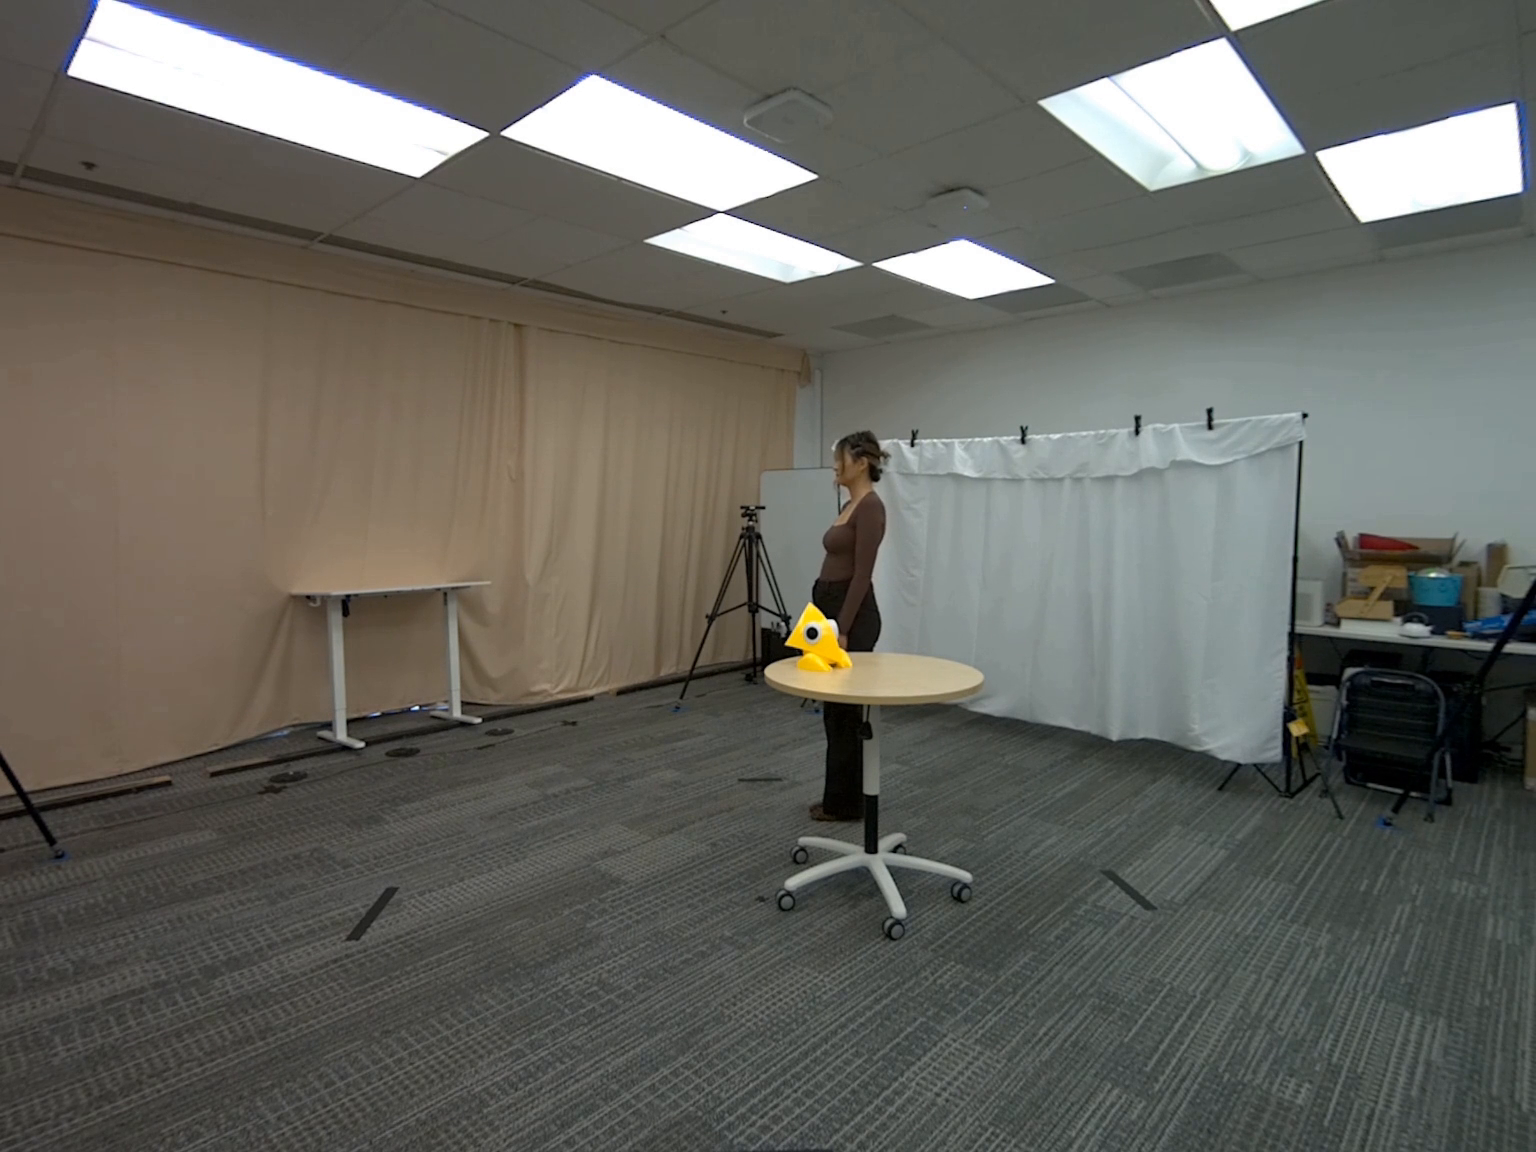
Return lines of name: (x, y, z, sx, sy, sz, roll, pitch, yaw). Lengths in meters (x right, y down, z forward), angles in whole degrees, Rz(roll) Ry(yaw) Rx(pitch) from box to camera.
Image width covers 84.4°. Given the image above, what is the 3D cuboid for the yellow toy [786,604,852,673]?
yellow toy: (0.199, 0.218, 3.125, 0.198, 0.230, 0.199, -4, 6, -42)
